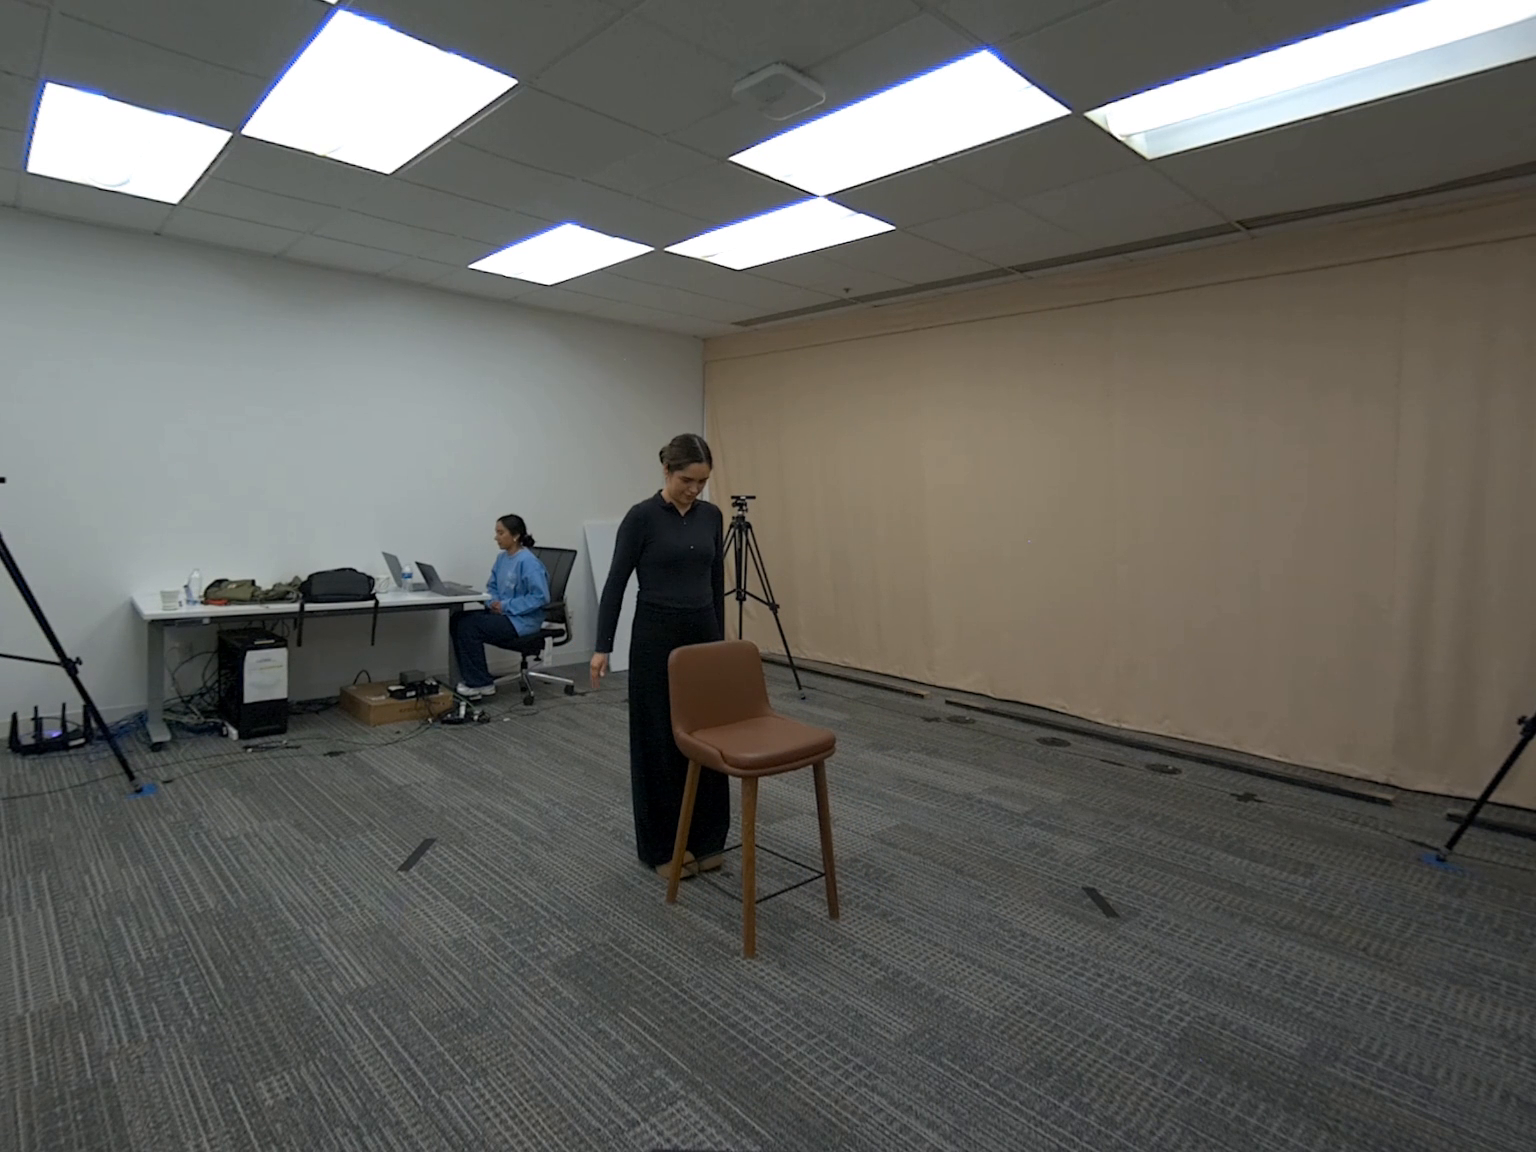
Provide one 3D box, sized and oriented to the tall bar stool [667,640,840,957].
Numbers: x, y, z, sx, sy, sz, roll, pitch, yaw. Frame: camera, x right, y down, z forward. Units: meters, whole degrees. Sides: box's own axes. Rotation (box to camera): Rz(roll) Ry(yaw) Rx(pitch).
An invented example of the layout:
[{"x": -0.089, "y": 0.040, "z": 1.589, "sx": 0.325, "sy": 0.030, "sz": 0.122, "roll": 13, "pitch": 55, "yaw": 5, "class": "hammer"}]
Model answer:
[{"x": -0.062, "y": 0.692, "z": 2.817, "sx": 0.446, "sy": 0.889, "sz": 0.479, "roll": -2, "pitch": 2, "yaw": -42, "class": "tall bar stool"}]
